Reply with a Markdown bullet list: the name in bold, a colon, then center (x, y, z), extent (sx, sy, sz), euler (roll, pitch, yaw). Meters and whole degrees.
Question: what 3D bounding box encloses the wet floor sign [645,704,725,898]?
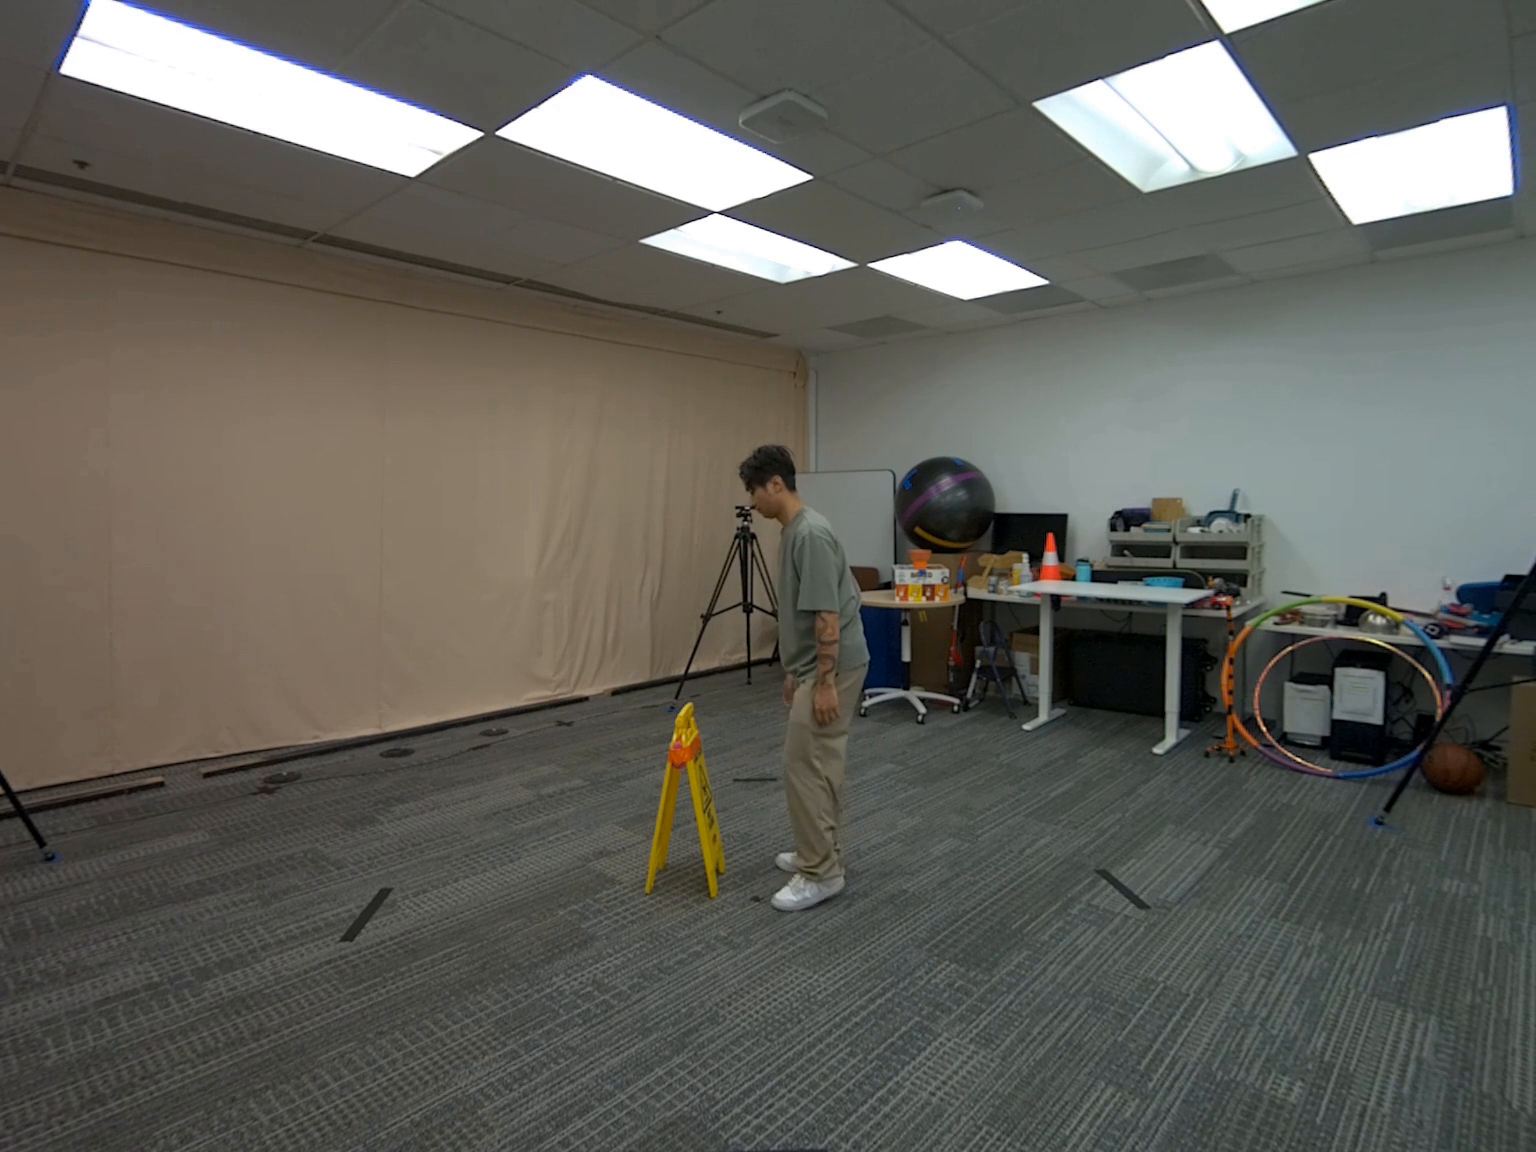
- **wet floor sign**: center (-0.305, 0.815, 3.114), extent (0.292, 0.645, 0.280), euler (-2, 2, 7)
